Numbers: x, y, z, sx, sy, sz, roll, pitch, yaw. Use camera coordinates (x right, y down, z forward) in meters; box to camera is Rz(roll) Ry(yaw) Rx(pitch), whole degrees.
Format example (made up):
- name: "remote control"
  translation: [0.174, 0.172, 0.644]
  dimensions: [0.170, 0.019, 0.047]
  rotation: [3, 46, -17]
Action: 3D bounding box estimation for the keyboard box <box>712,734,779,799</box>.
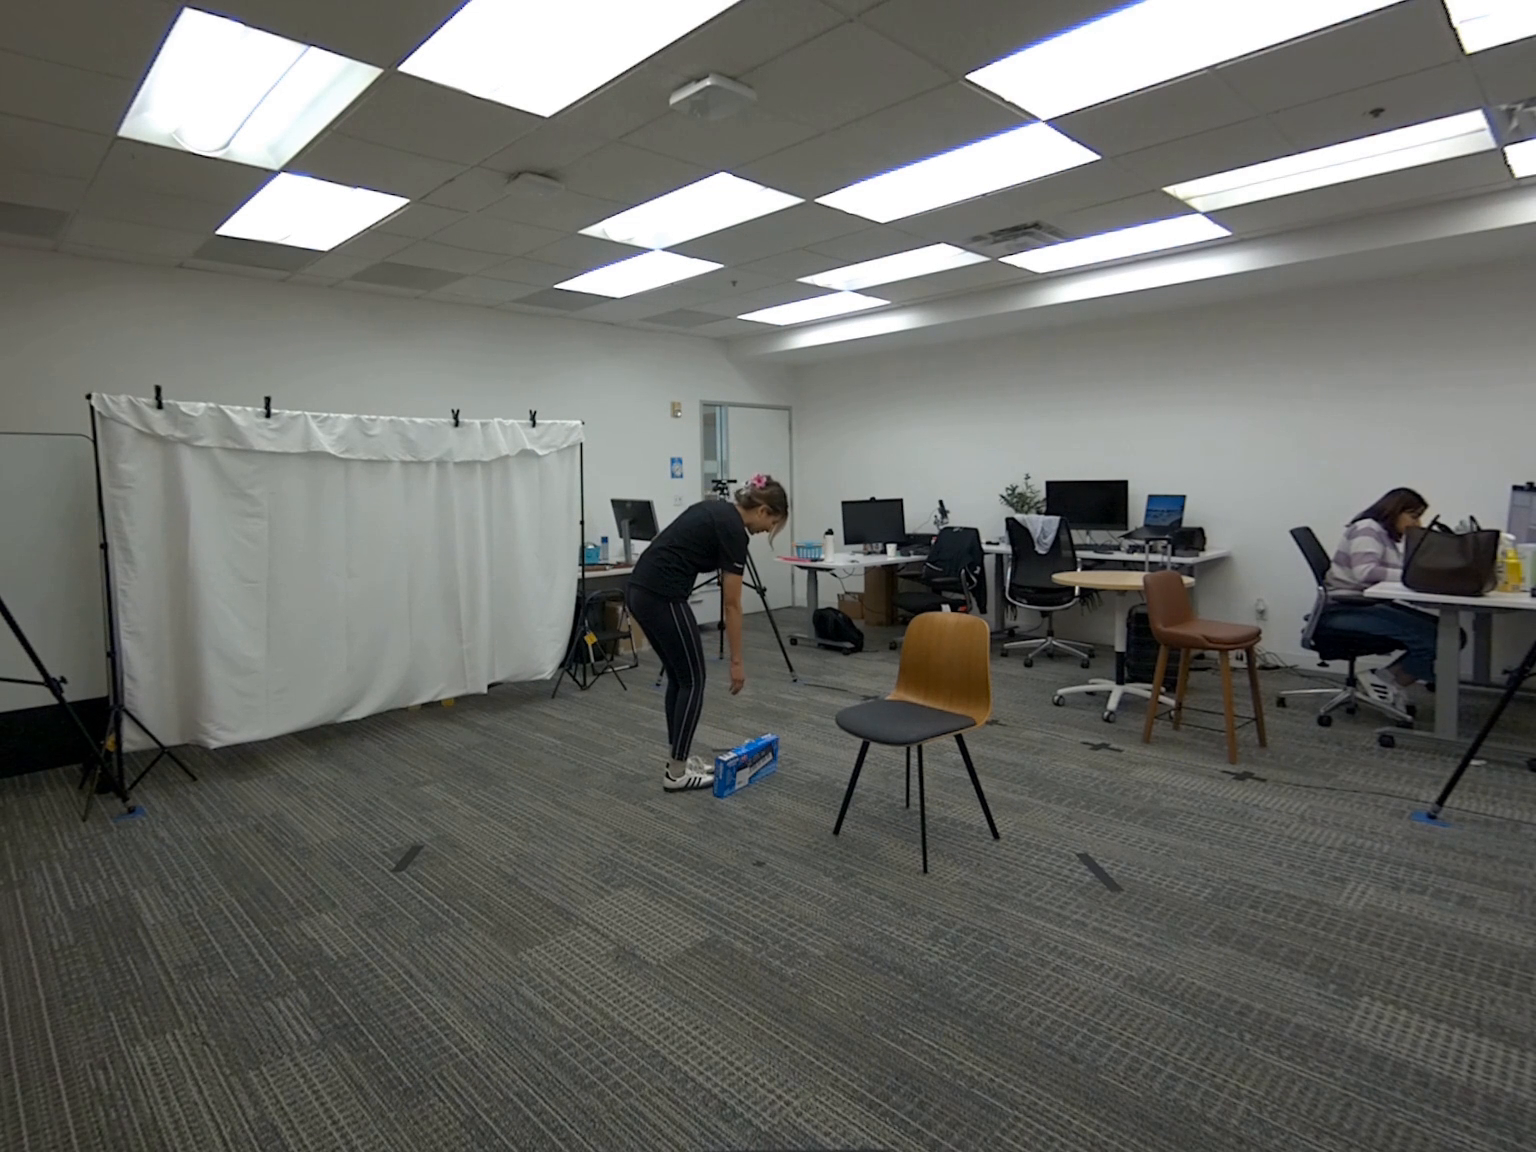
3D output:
- name: "keyboard box"
  translation: [-0.098, 0.870, 3.940]
  dimensions: [0.061, 0.175, 0.427]
  rotation: [8, 11, 33]
